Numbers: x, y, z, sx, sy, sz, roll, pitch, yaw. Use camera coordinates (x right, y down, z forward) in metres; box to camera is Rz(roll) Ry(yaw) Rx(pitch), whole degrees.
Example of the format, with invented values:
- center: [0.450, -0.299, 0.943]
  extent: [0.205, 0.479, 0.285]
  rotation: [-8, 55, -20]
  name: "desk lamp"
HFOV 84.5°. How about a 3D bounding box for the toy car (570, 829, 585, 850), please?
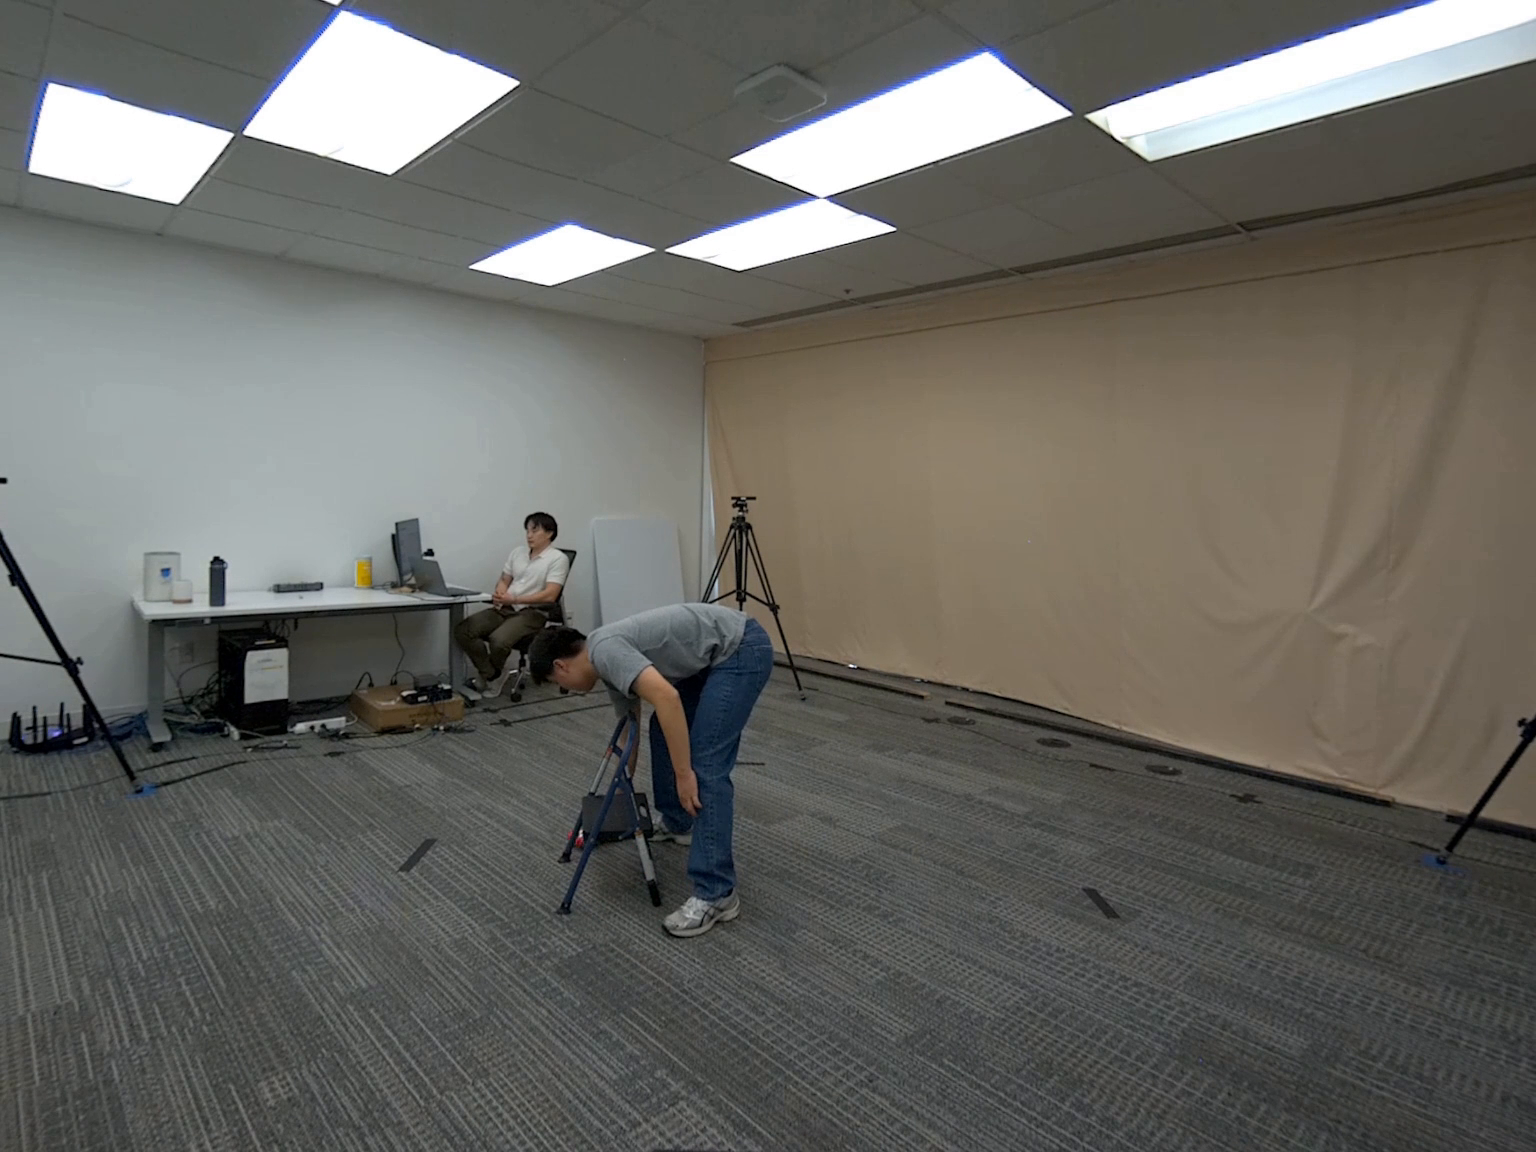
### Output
- center: [-0.677, 1.042, 3.383]
  extent: [0.133, 0.082, 0.250]
  rotation: [3, 15, 45]
  name: "toy car"
